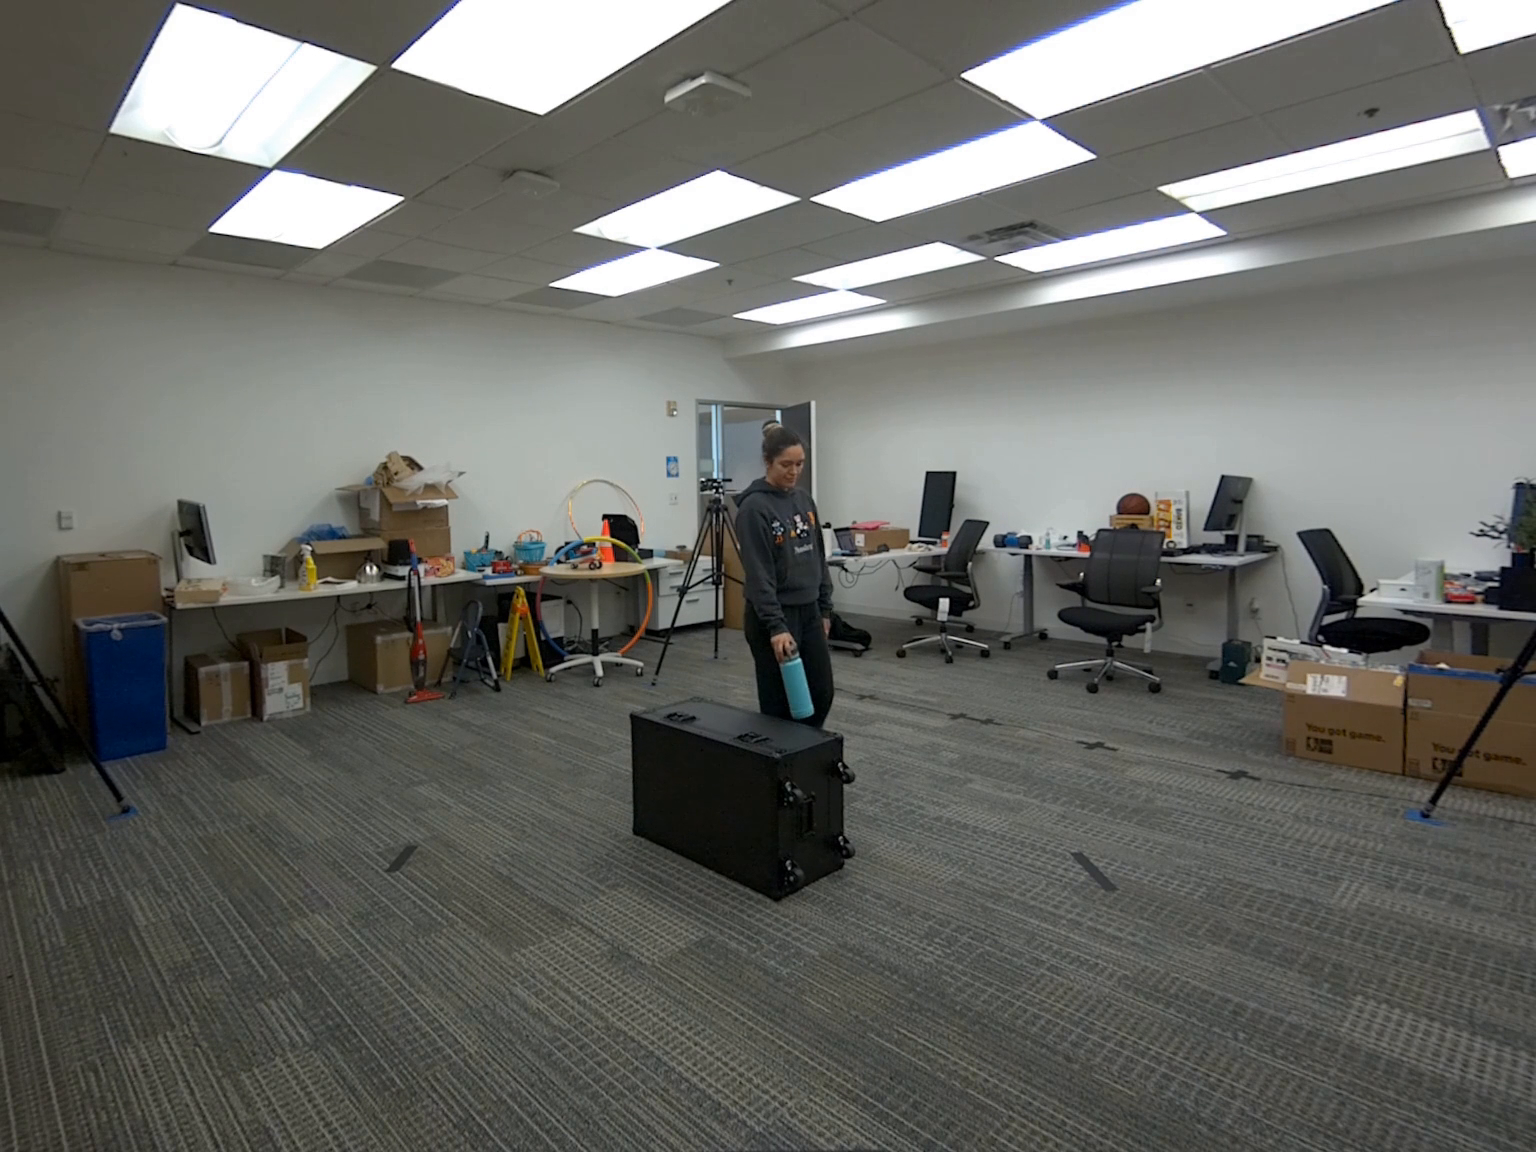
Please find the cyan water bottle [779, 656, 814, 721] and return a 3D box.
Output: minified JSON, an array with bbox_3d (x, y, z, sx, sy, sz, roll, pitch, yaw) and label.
[{"bbox_3d":[0.103,0.414,3.335,0.092,0.282,0.093,-11,5,-1],"label":"cyan water bottle"}]
